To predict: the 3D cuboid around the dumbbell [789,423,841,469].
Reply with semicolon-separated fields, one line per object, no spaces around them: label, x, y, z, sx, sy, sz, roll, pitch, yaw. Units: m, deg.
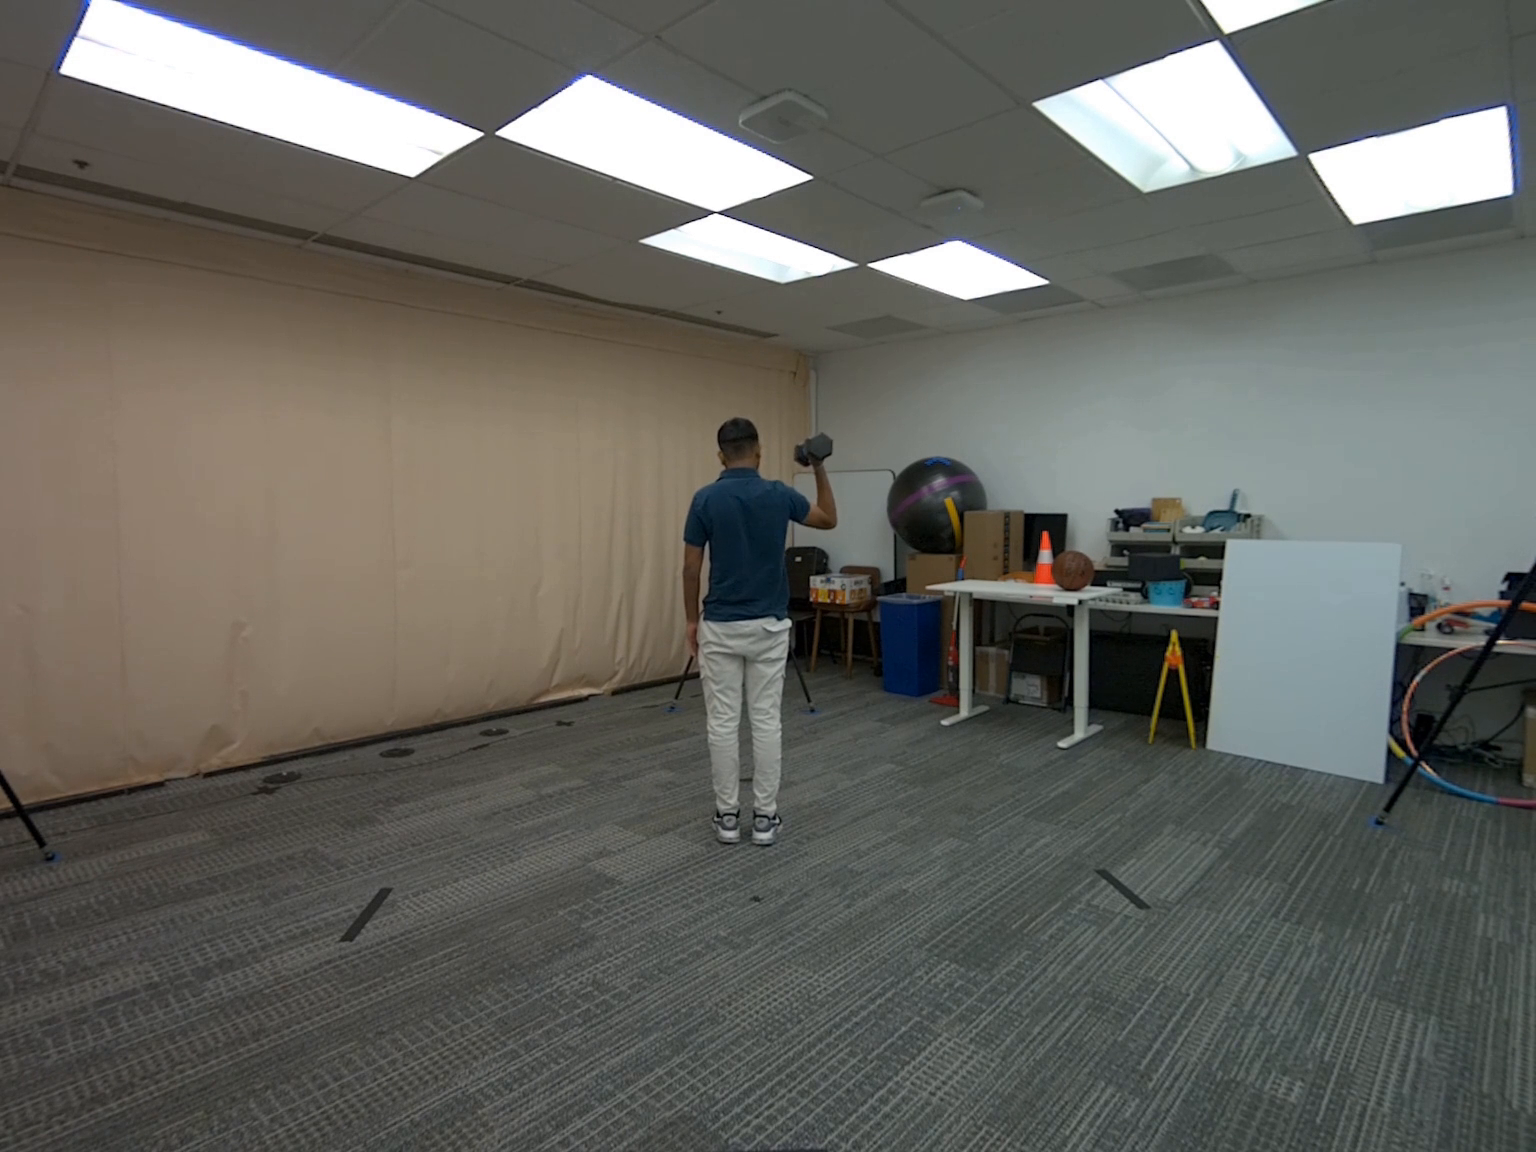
dumbbell;0.193;-0.547;3.570;0.122;0.108;0.296;-26;4;-7
